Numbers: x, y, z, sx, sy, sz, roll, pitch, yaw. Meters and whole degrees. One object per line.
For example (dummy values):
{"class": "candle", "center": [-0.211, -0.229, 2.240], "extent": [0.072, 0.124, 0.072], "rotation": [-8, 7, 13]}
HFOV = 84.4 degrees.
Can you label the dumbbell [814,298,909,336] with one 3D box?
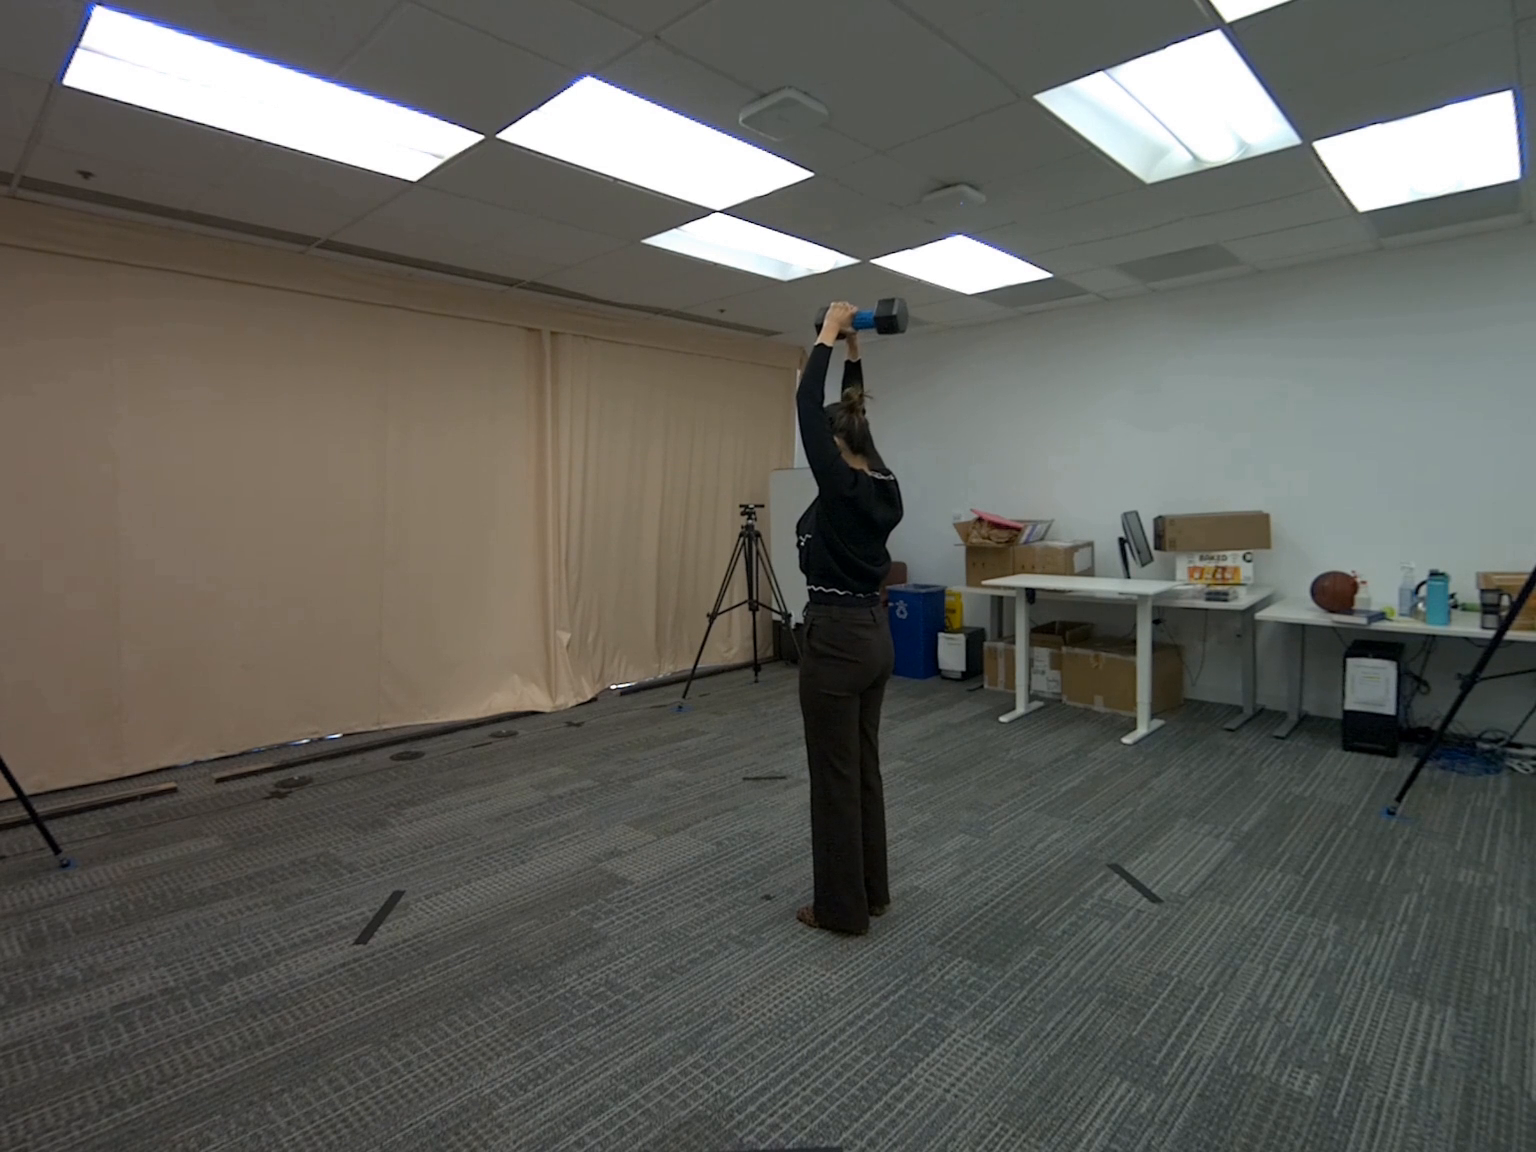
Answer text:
{"class": "dumbbell", "center": [0.301, -0.827, 2.724], "extent": [0.303, 0.123, 0.105], "rotation": [4, -16, 34]}
